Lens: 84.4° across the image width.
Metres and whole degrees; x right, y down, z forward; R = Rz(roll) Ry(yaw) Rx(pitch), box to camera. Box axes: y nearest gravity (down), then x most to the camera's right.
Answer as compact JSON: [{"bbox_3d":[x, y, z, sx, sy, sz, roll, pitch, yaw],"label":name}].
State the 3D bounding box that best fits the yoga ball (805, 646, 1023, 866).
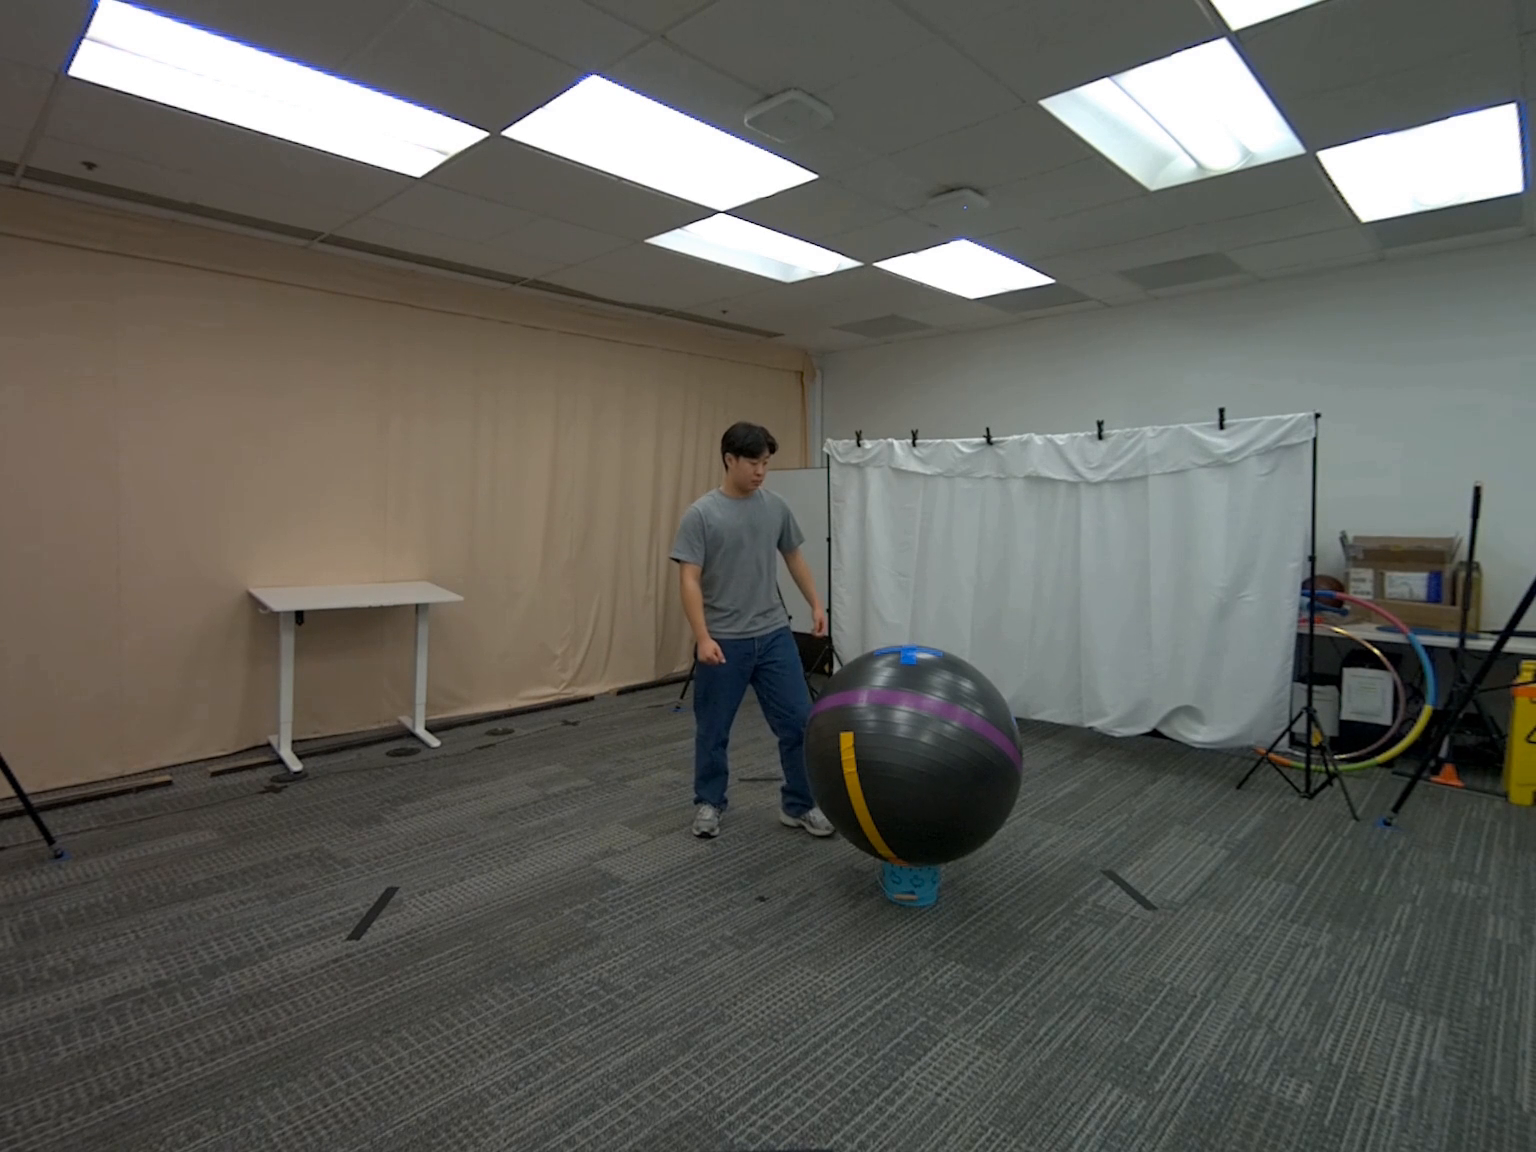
[{"bbox_3d":[0.512,0.634,2.994,0.757,0.756,0.760,0,4,-2],"label":"yoga ball"}]
